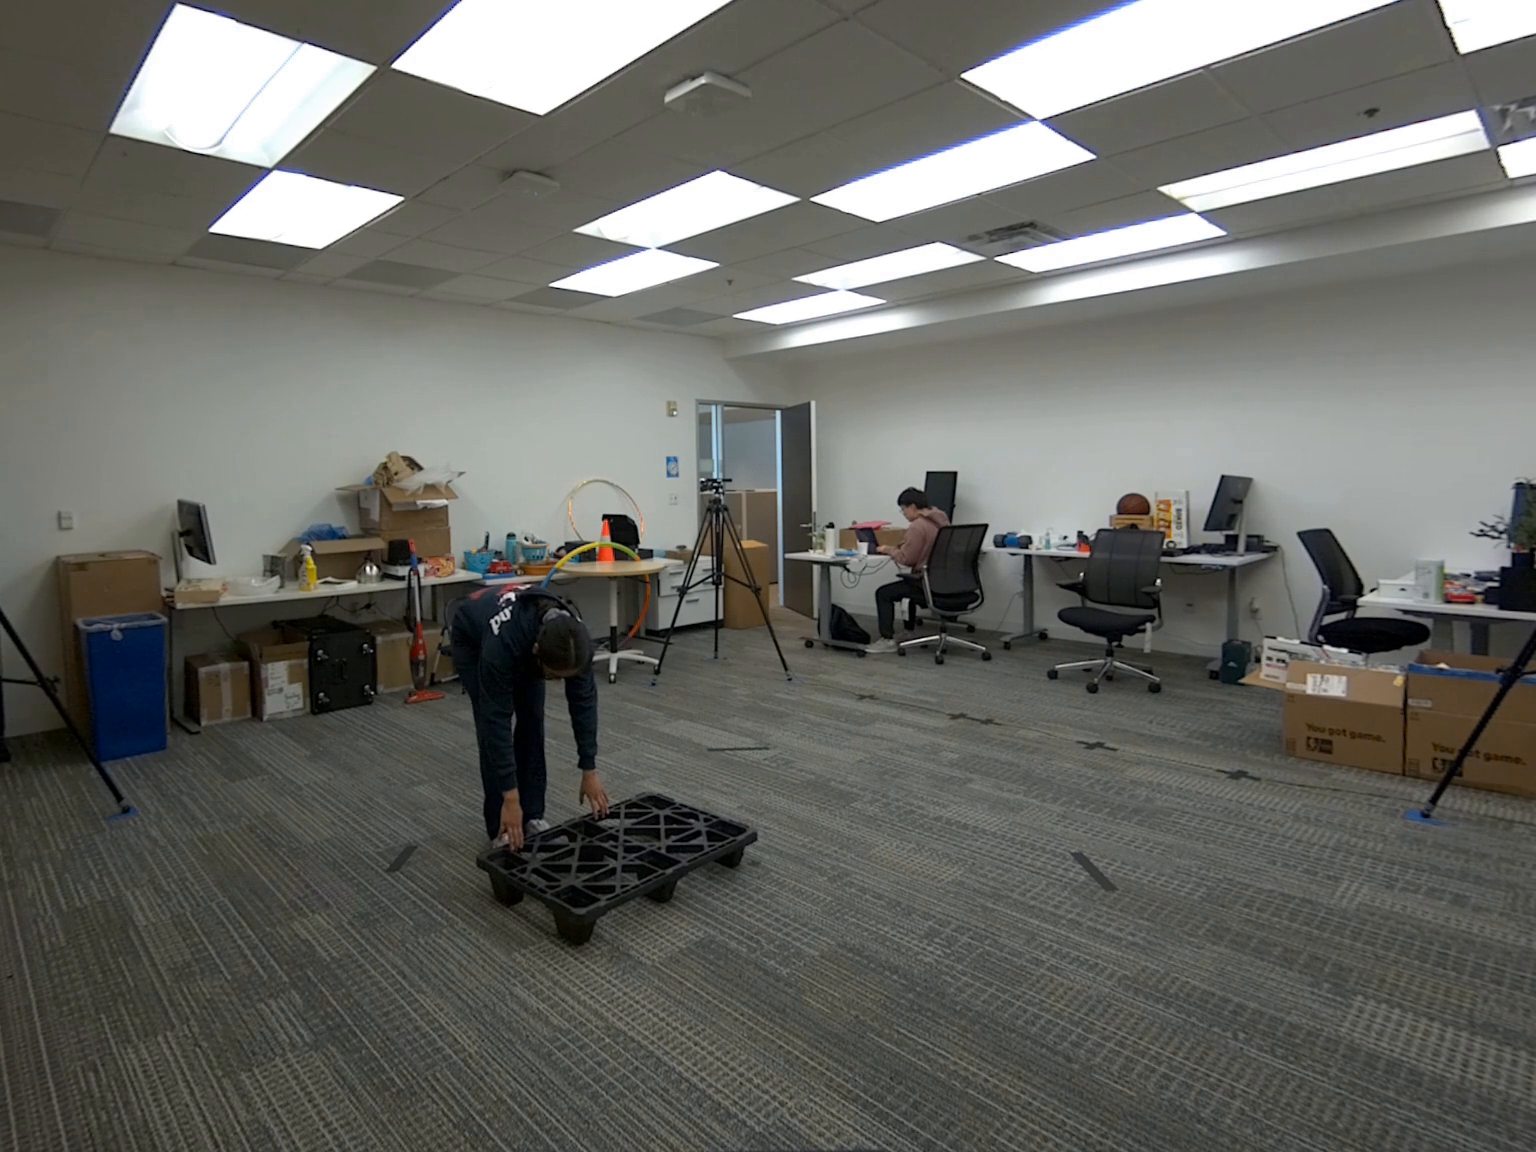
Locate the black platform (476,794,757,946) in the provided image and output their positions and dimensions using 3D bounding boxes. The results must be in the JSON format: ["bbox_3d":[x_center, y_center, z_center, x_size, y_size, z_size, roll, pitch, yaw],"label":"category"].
[{"bbox_3d":[-0.513,0.999,2.988,0.624,0.143,0.785,4,8,42],"label":"black platform"}]
